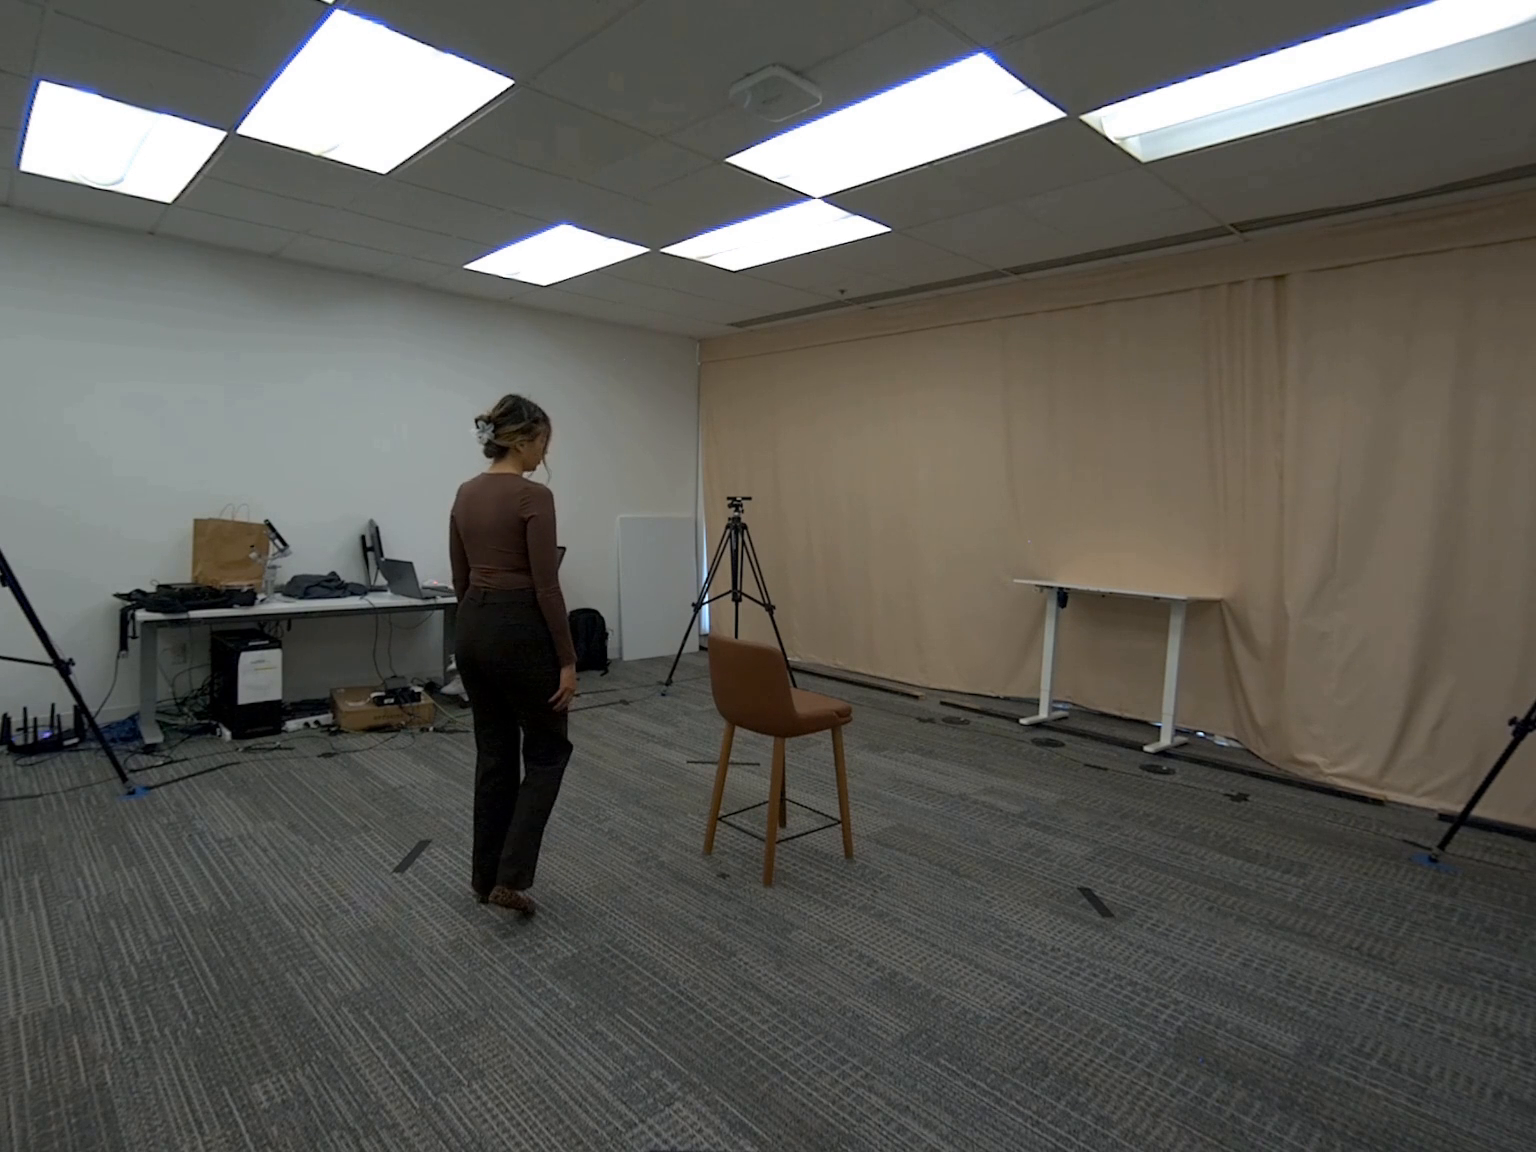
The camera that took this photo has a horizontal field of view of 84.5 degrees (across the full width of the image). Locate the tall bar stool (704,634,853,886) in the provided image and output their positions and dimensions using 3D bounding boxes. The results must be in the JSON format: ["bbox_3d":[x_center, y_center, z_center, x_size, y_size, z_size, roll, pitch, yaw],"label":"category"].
[{"bbox_3d":[0.037,0.661,3.275,0.457,0.887,0.468,-4,6,-42],"label":"tall bar stool"}]
